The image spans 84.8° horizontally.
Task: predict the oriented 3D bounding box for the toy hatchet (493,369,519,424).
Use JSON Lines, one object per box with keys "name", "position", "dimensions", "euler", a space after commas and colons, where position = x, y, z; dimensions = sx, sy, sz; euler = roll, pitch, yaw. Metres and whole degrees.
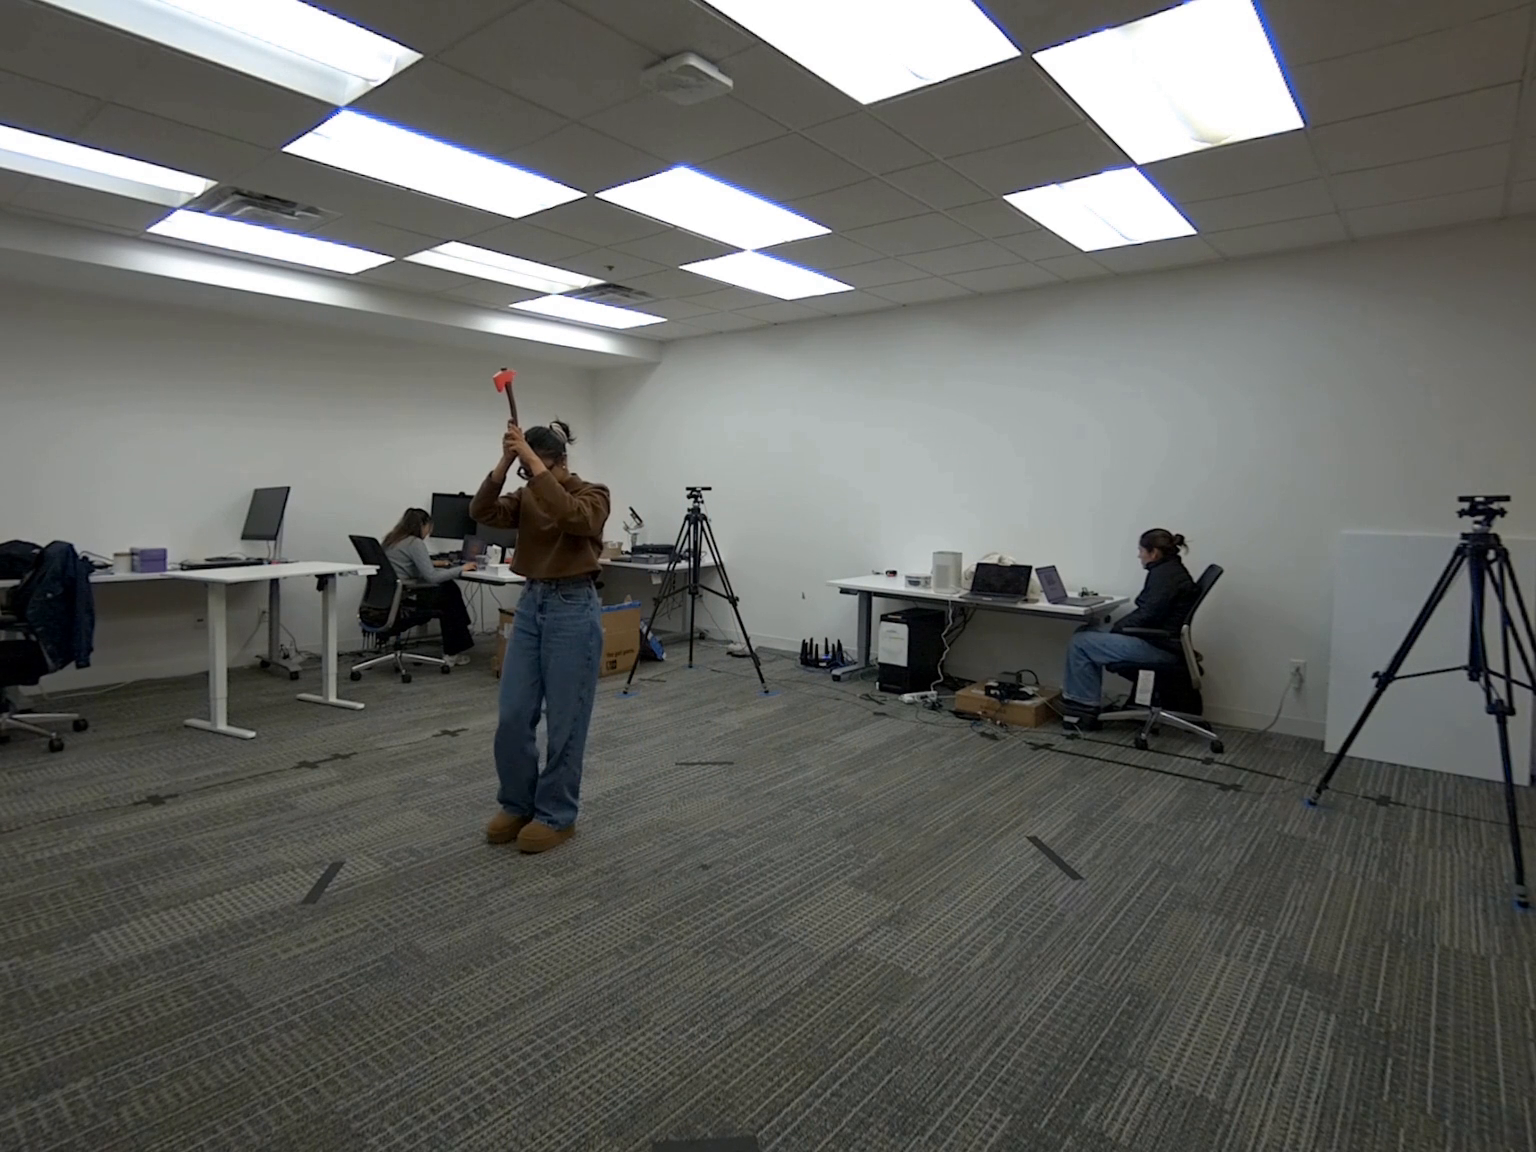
{"name": "toy hatchet", "position": [-0.964, -0.625, 3.074], "dimensions": [0.030, 0.270, 0.128], "euler": [-2, 0, 18]}
